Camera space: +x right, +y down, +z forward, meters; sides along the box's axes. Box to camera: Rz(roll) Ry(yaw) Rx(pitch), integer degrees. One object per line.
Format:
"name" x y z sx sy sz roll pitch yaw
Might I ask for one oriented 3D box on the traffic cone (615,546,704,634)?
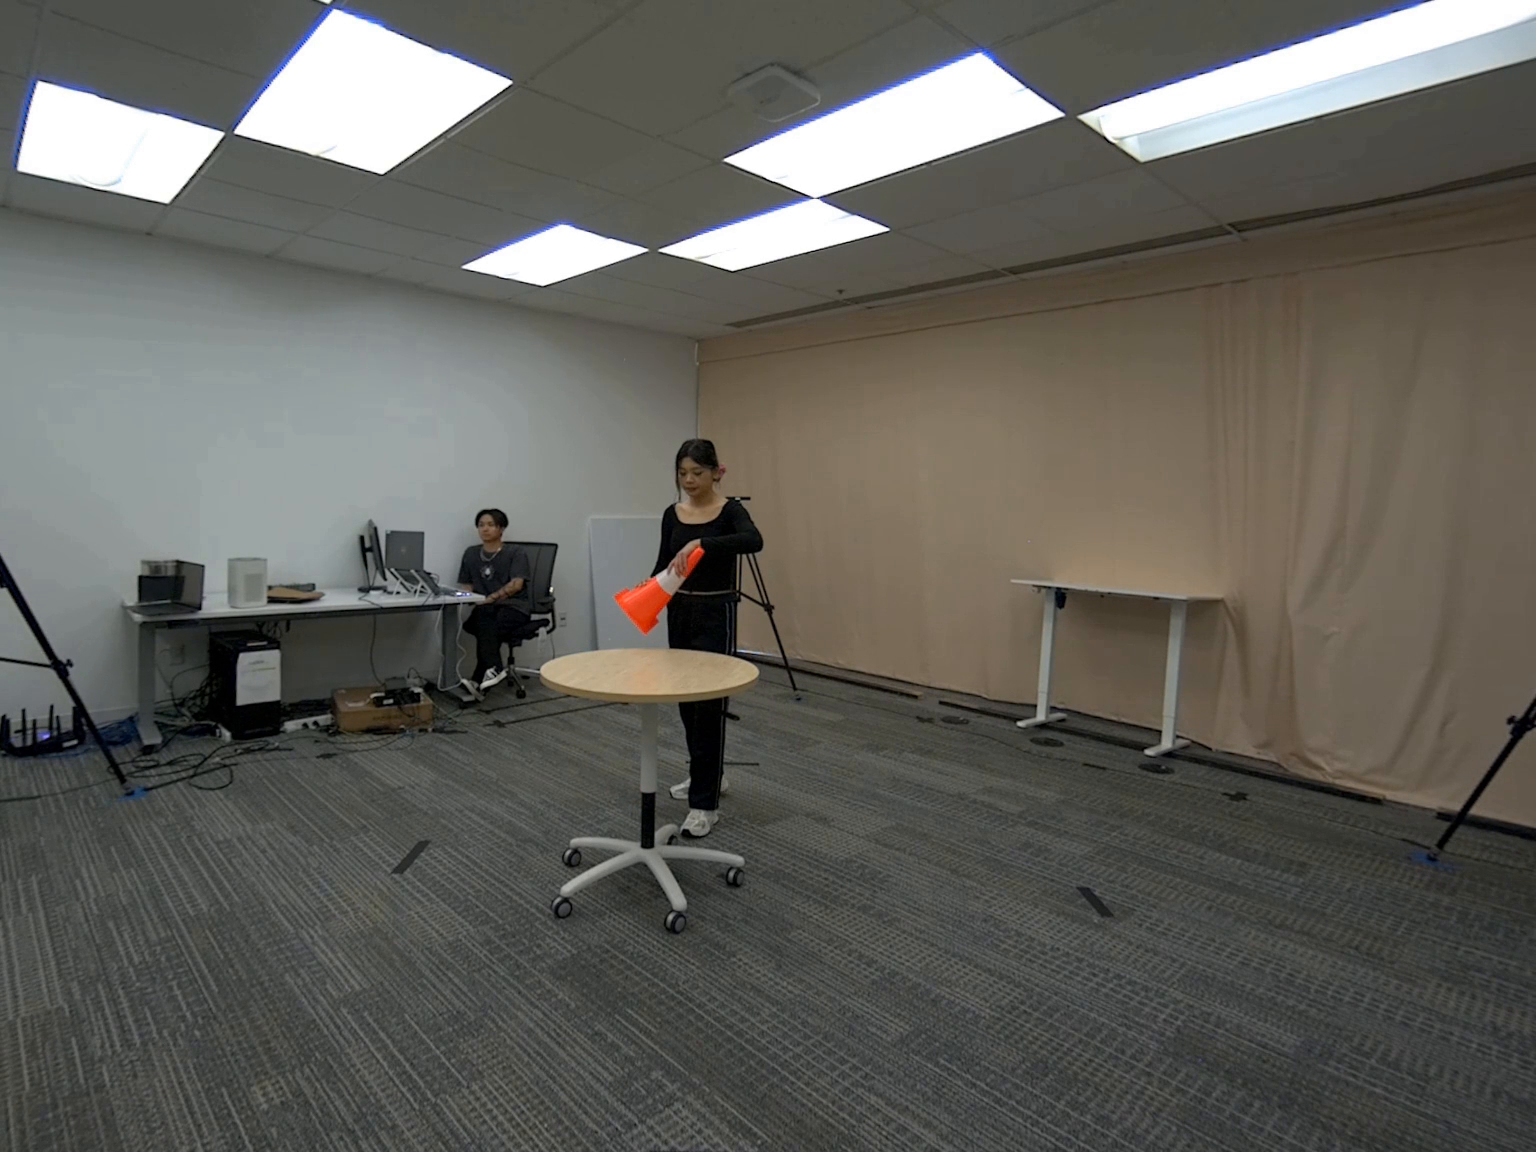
"traffic cone" -0.409 0.017 3.360 0.384 0.205 0.203 -43 1 14
